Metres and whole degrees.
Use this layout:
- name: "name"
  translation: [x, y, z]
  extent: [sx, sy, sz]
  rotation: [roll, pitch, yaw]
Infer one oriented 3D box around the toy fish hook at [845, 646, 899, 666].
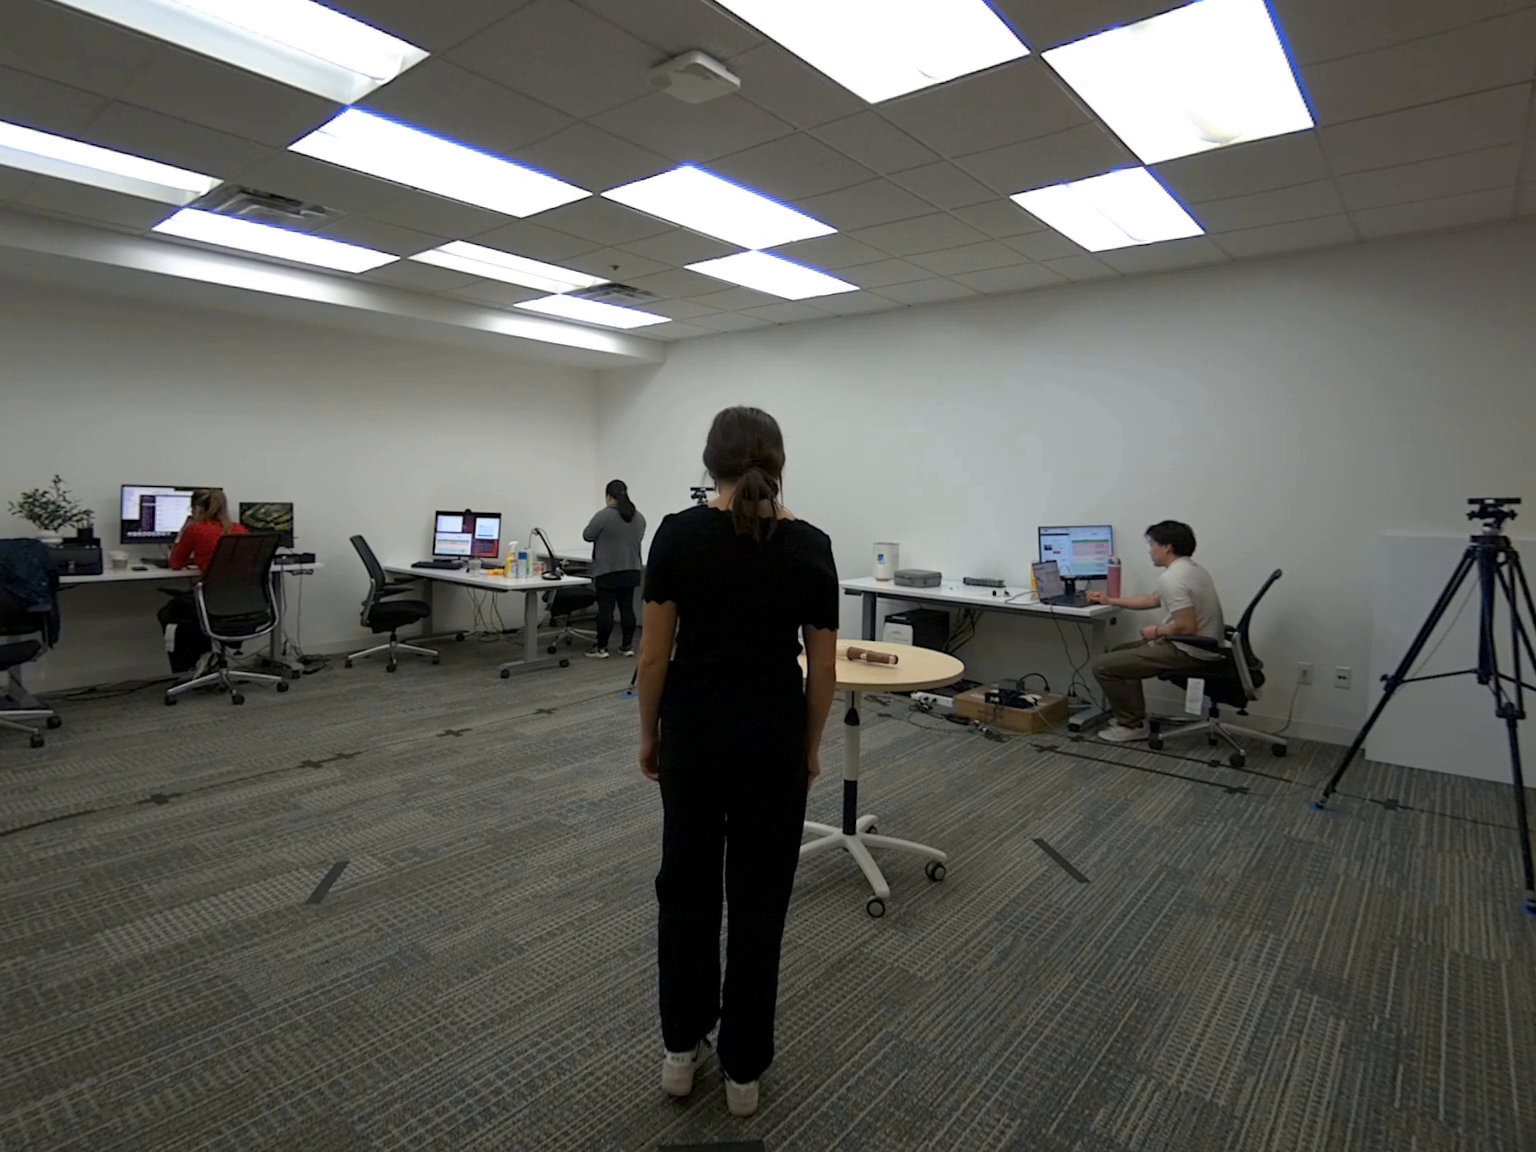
- name: "toy fish hook"
  translation: [0.271, 0.267, 3.130]
  extent: [0.218, 0.048, 0.524]
  rotation: [-10, 11, -44]
